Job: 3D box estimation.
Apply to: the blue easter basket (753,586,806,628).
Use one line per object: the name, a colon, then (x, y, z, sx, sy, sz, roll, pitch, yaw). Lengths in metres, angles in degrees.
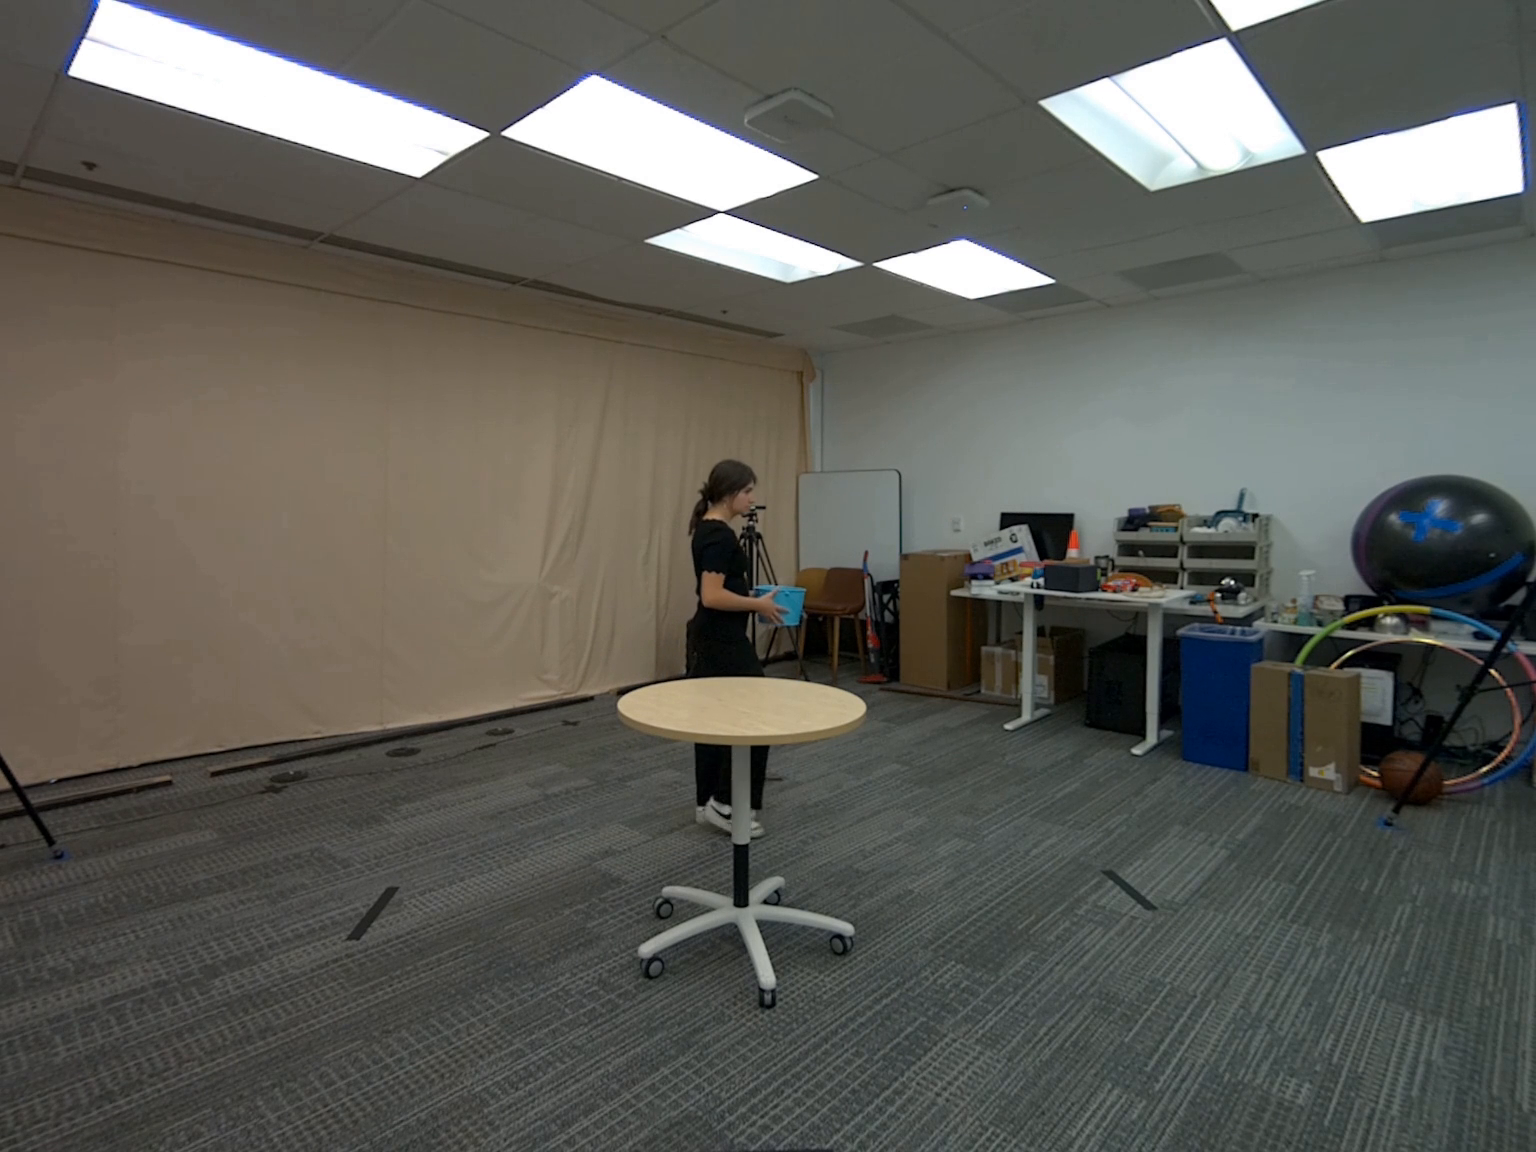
blue easter basket: (0.056, 0.130, 3.690, 0.243, 0.155, 0.244, 1, 3, -2)
